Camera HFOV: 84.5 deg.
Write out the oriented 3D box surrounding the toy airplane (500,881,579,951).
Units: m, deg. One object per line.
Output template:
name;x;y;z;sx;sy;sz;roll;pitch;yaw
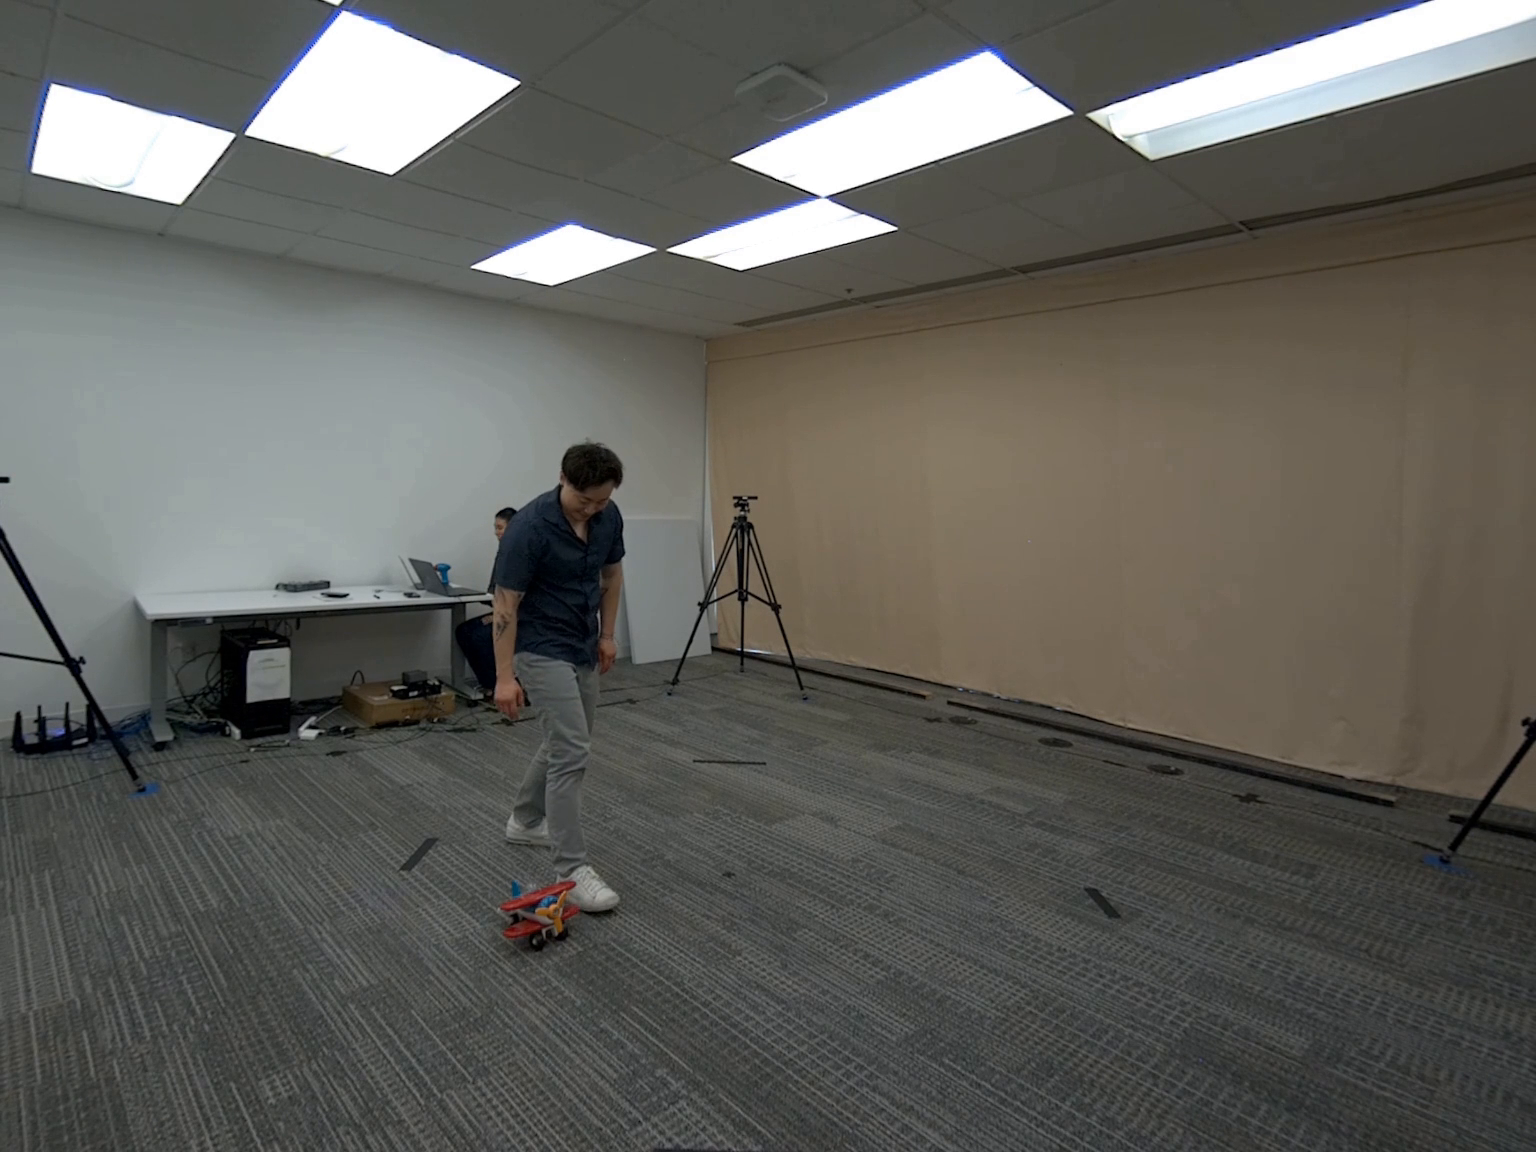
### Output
toy airplane;-0.752;1.061;2.632;0.263;0.156;0.248;3;6;16
